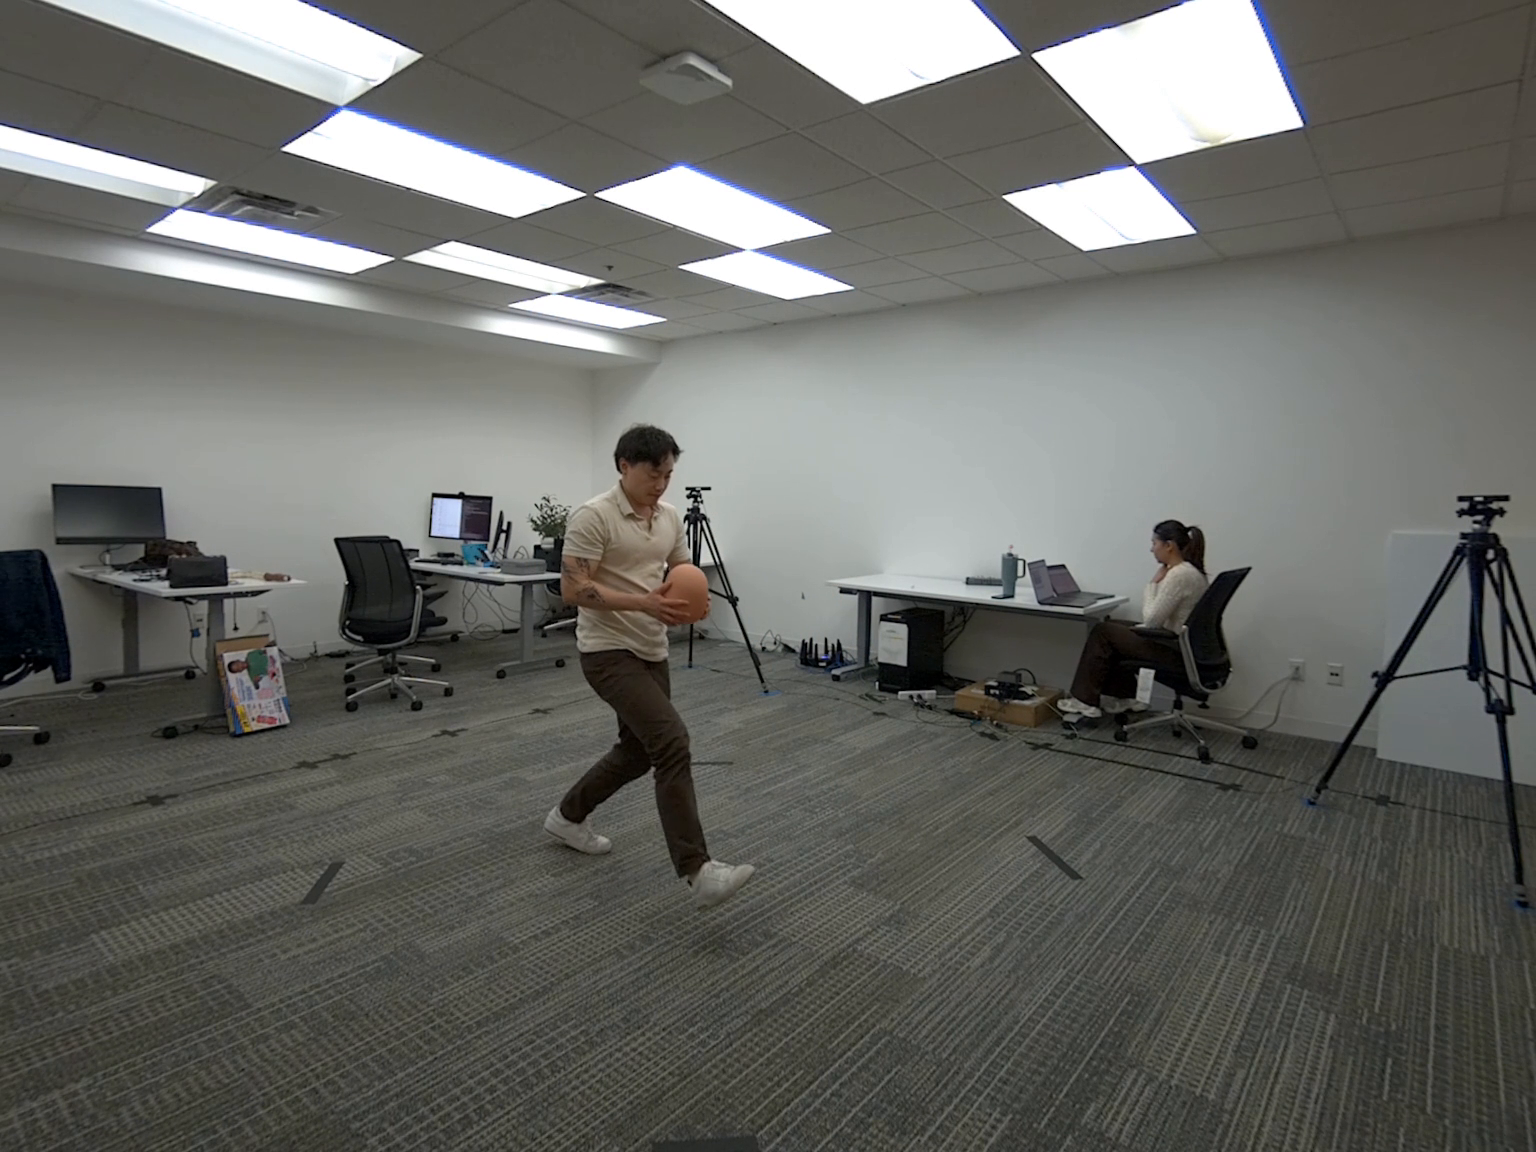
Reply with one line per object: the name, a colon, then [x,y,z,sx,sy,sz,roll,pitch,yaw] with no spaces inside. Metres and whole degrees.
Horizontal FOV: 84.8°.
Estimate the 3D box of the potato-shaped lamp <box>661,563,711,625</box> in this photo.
potato-shaped lamp: [-0.292,0.072,2.833,0.160,0.197,0.178,-2,12,-43]
